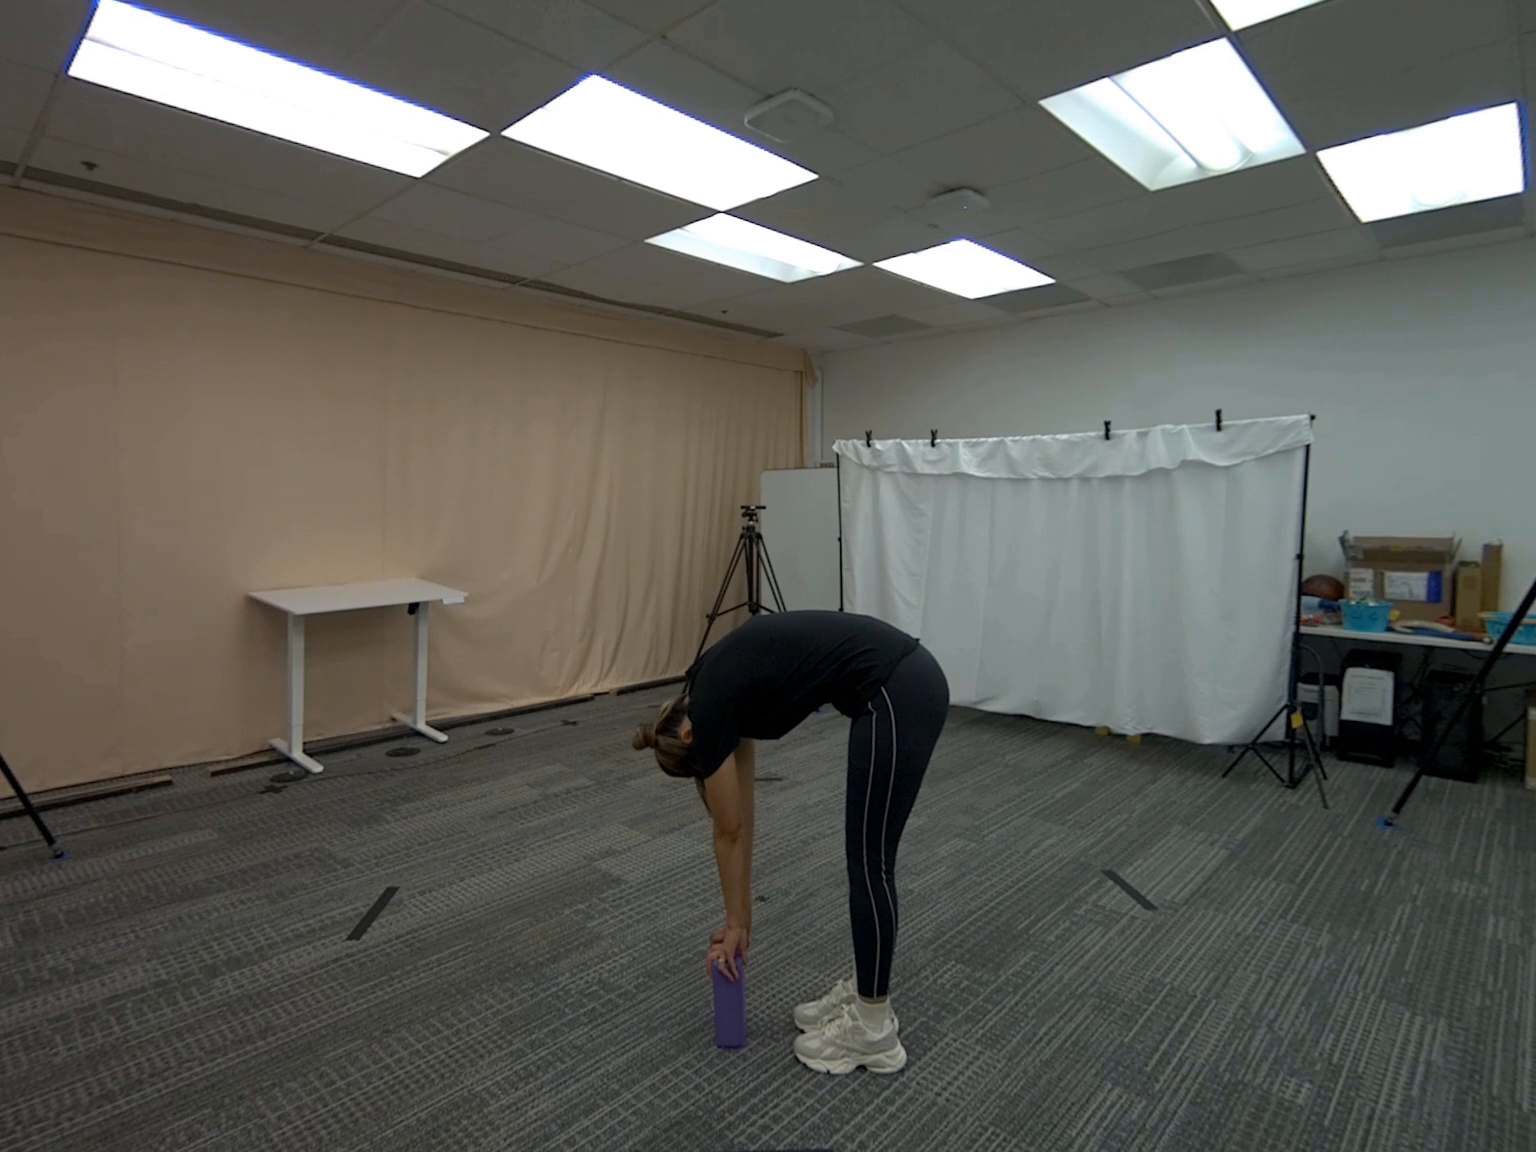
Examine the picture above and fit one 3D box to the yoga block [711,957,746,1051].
[{"bbox_3d":[-0.101,1.103,2.222,0.076,0.229,0.149,0,2,0],"label":"yoga block"}]
